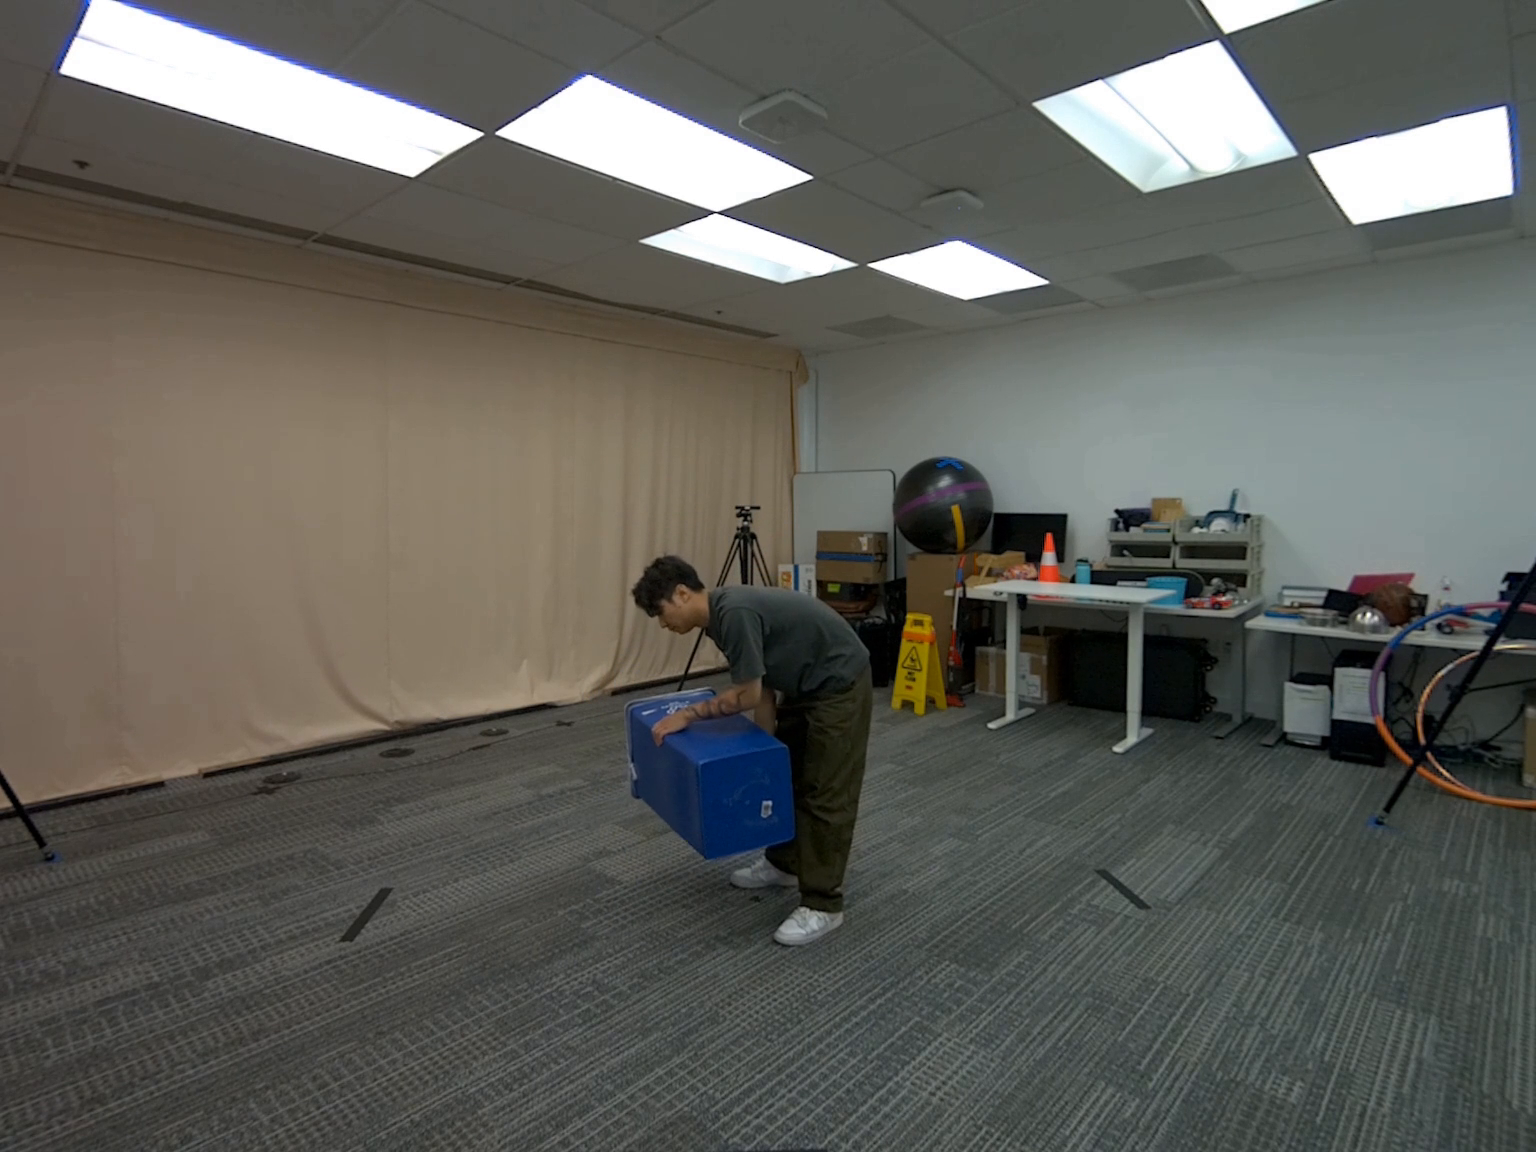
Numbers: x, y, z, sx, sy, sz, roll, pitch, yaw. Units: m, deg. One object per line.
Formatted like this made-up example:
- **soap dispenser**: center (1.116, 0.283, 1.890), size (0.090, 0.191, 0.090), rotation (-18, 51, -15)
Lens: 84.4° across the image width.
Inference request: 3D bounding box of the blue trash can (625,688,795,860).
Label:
- **blue trash can**: center (-0.212, 0.664, 2.871), size (0.370, 0.372, 0.732), rotation (-6, 7, -23)
